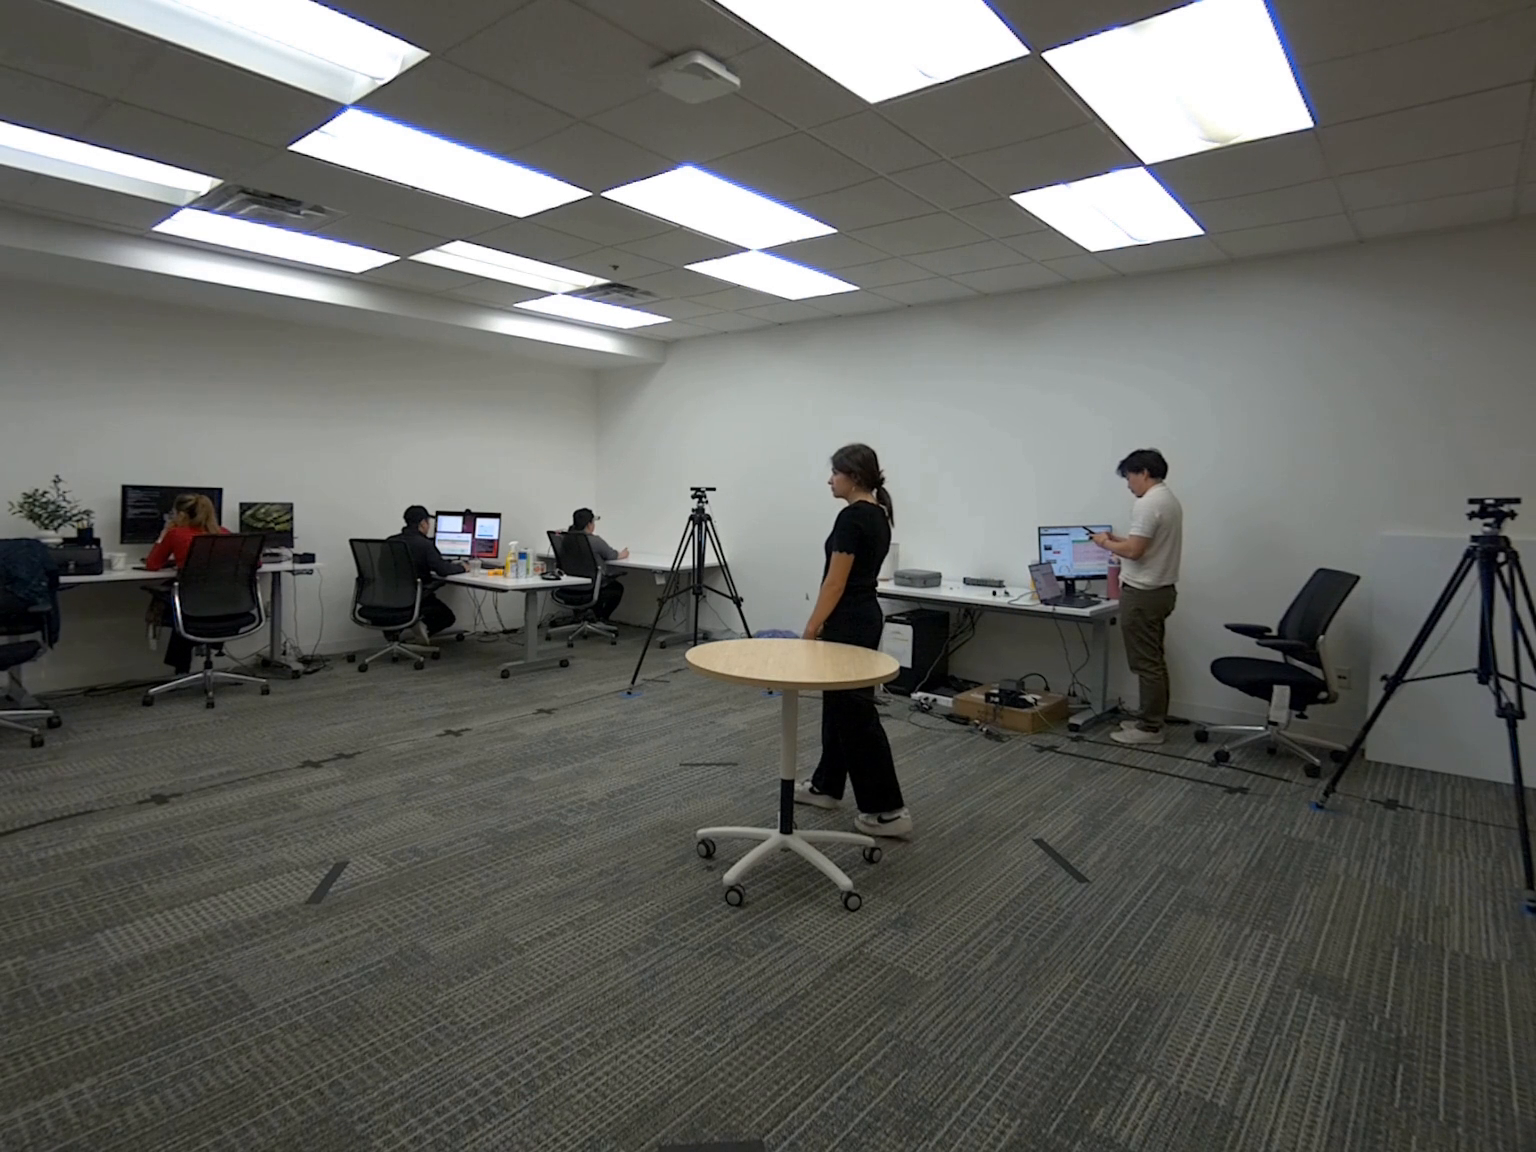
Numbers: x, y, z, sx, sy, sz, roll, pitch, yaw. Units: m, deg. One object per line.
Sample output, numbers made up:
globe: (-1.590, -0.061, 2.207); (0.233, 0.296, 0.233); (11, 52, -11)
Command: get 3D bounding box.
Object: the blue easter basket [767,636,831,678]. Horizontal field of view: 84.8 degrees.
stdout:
blue easter basket: (0.128, 0.347, 3.678); (0.243, 0.156, 0.243); (-2, -2, -2)
